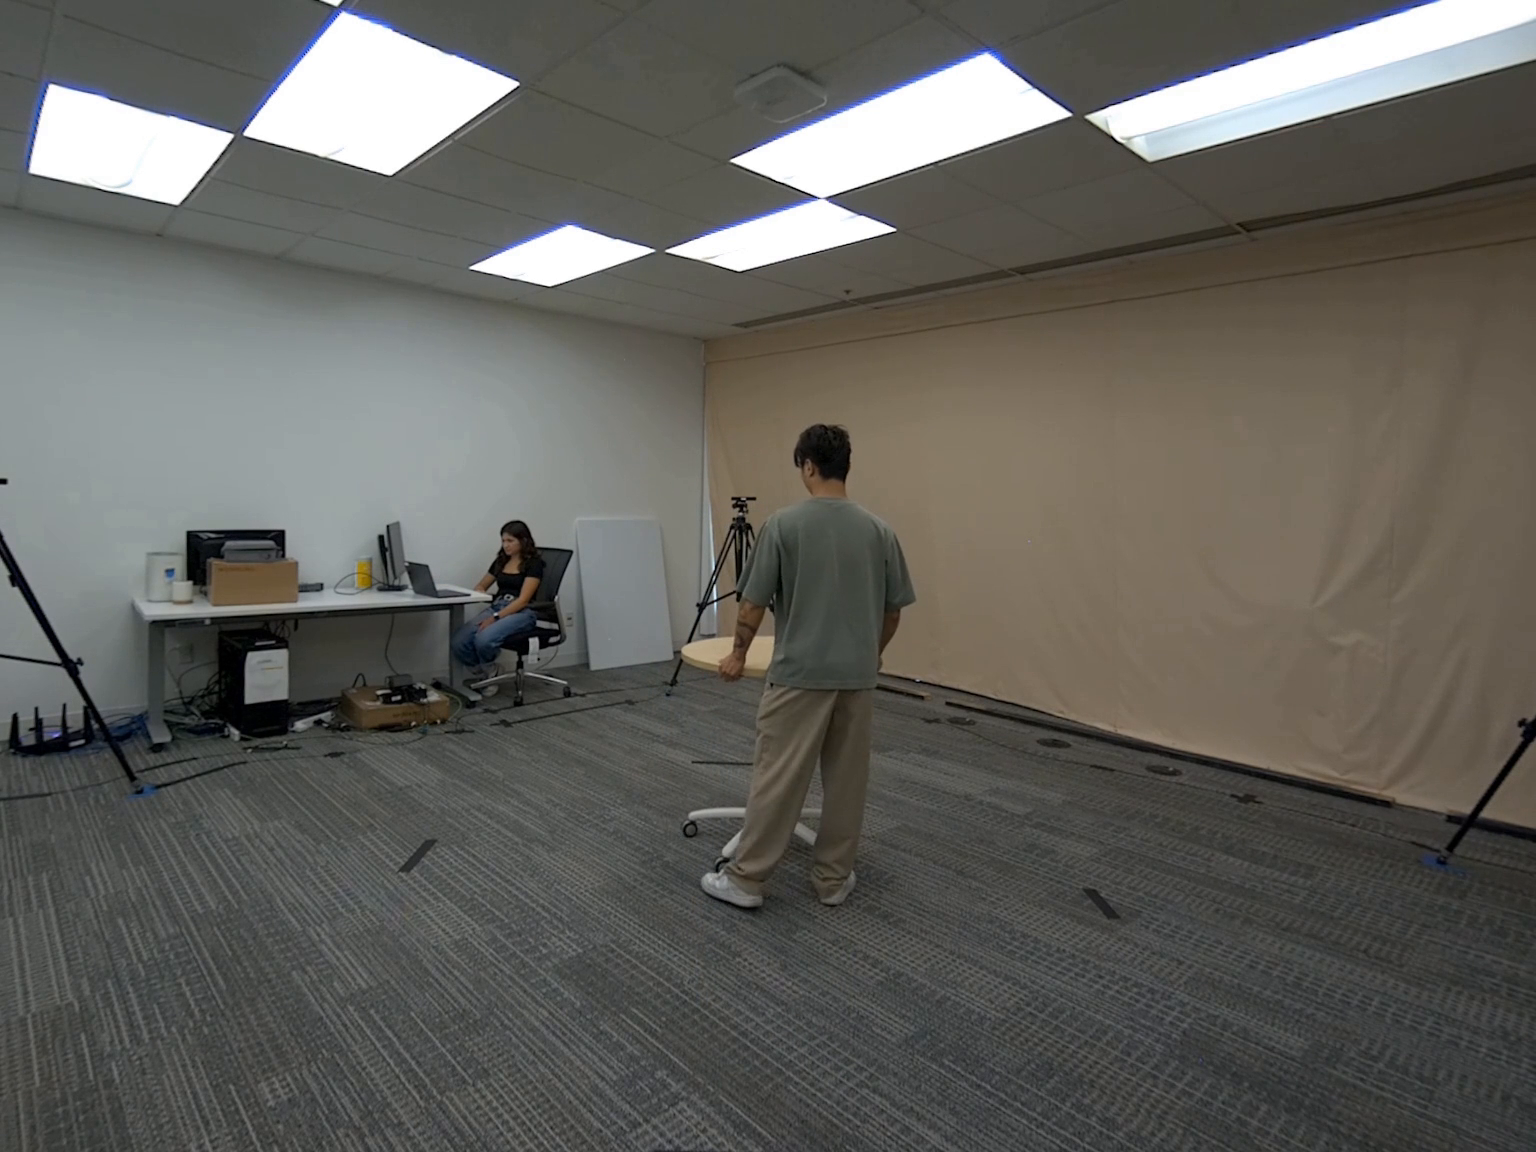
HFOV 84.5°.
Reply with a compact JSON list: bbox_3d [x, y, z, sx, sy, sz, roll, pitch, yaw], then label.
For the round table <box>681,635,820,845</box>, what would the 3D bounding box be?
[{"bbox_3d":[0.001,0.693,3.386,0.784,0.784,0.788,1,4,-1],"label":"round table"}]
